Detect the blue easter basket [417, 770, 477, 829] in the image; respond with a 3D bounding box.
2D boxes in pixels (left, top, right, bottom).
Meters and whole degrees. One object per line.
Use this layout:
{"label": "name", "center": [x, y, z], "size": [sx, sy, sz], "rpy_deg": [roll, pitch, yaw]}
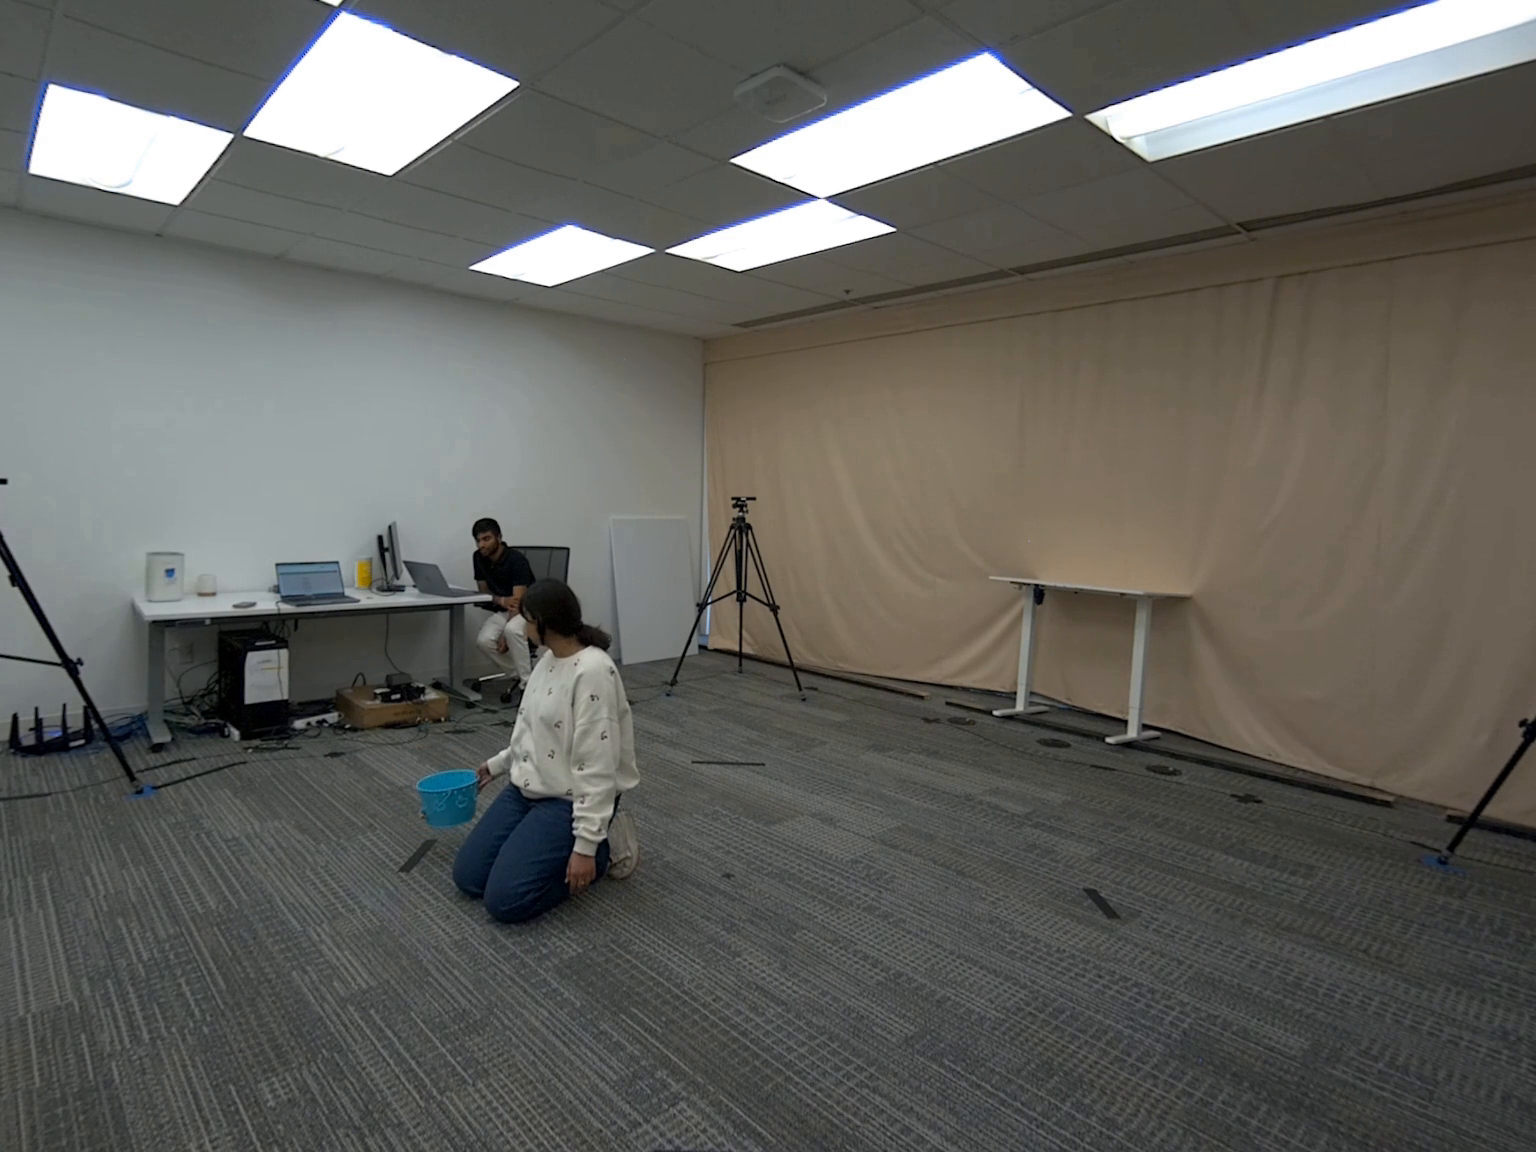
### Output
{"label": "blue easter basket", "center": [-1.235, 0.854, 3.238], "size": [0.243, 0.155, 0.244], "rpy_deg": [-3, 4, -1]}
